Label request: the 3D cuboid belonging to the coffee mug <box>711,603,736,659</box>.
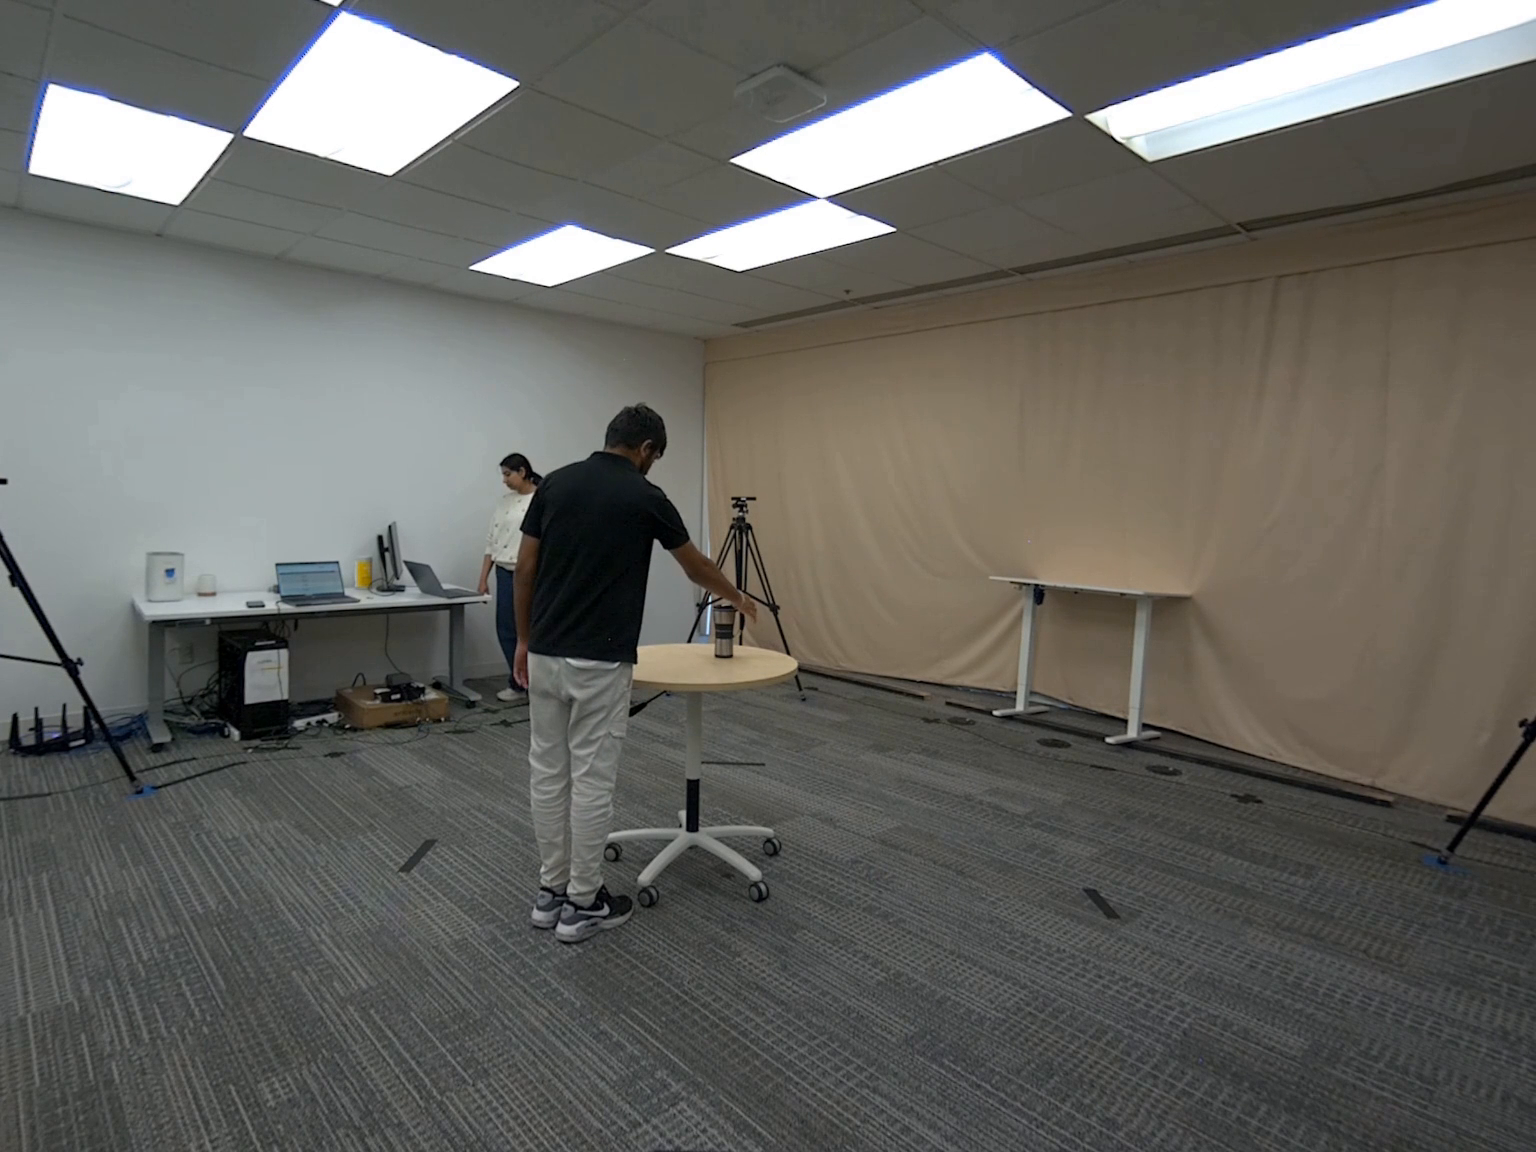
[{"bbox_3d":[-0.184,0.215,3.220,0.119,0.202,0.090,4,4,-32],"label":"coffee mug"}]
